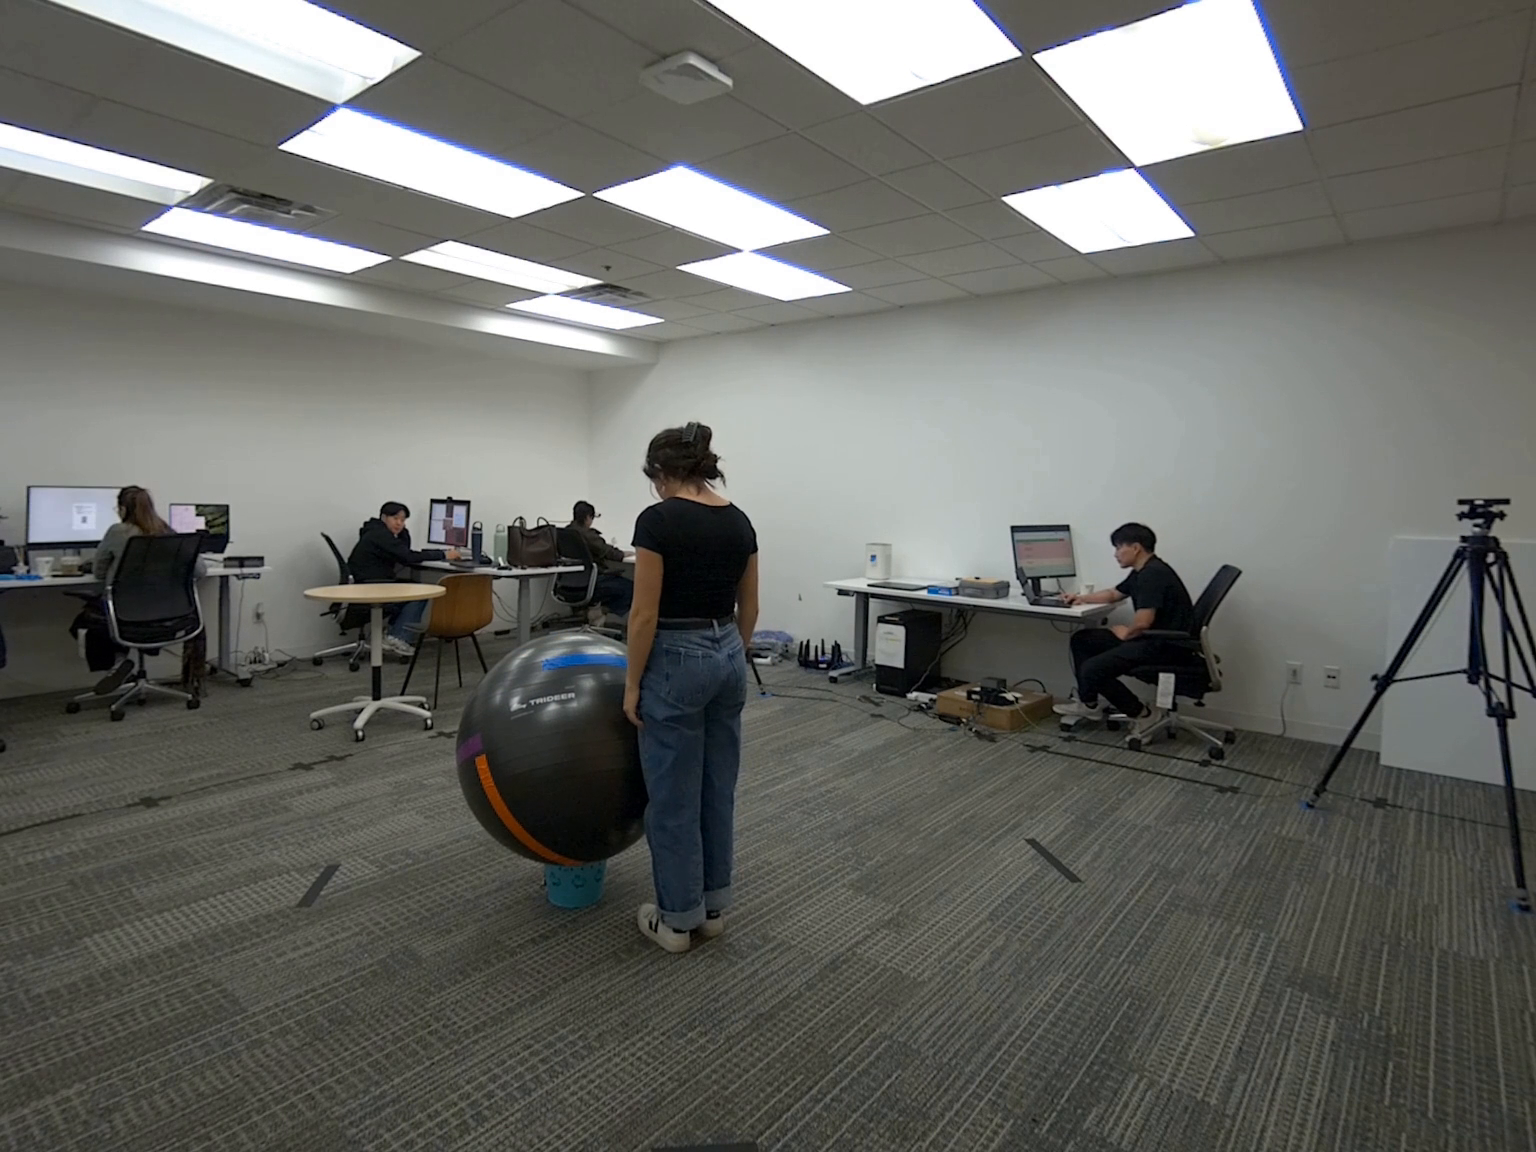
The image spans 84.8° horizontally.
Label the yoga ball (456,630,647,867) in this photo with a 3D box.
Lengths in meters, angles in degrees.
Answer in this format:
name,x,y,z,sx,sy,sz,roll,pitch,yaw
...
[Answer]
name,x,y,z,sx,sy,sz,roll,pitch,yaw
yoga ball,-0.686,0.575,2.871,0.757,0.755,0.762,1,4,-2
